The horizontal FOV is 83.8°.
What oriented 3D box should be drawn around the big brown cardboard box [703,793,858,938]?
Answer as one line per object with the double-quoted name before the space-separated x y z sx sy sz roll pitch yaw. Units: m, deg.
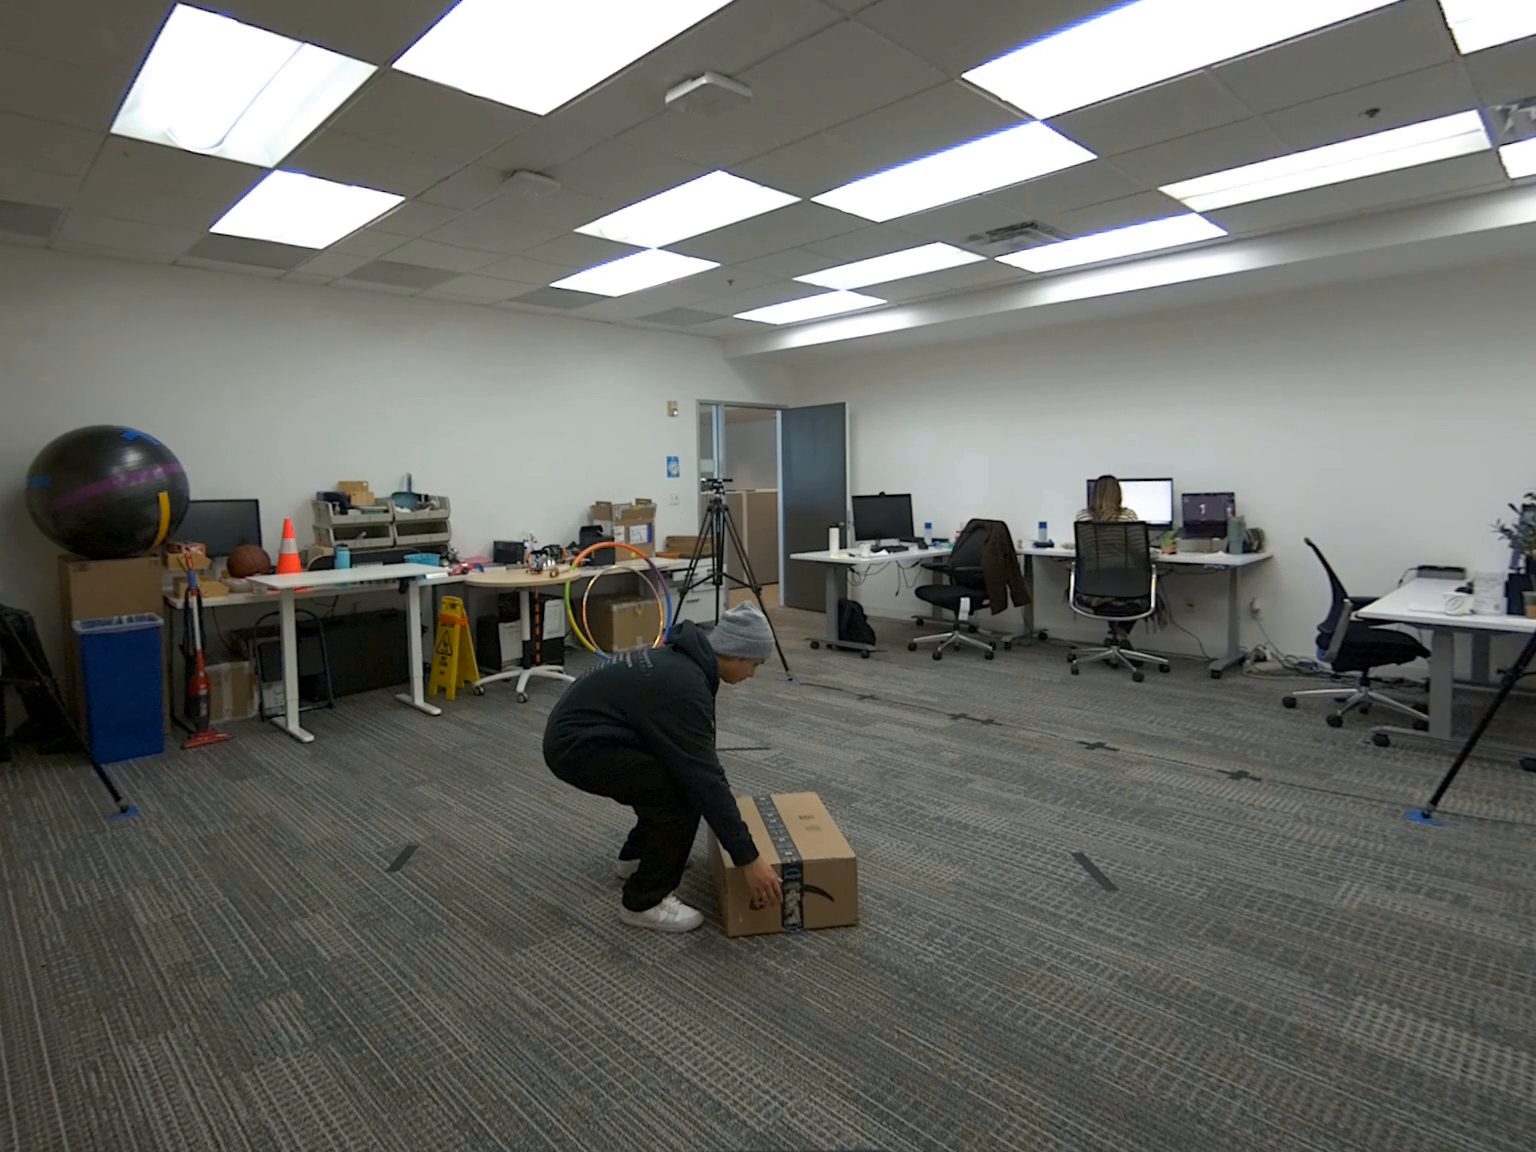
"big brown cardboard box" 0.034 0.956 2.903 0.414 0.232 0.597 -3 7 -9
